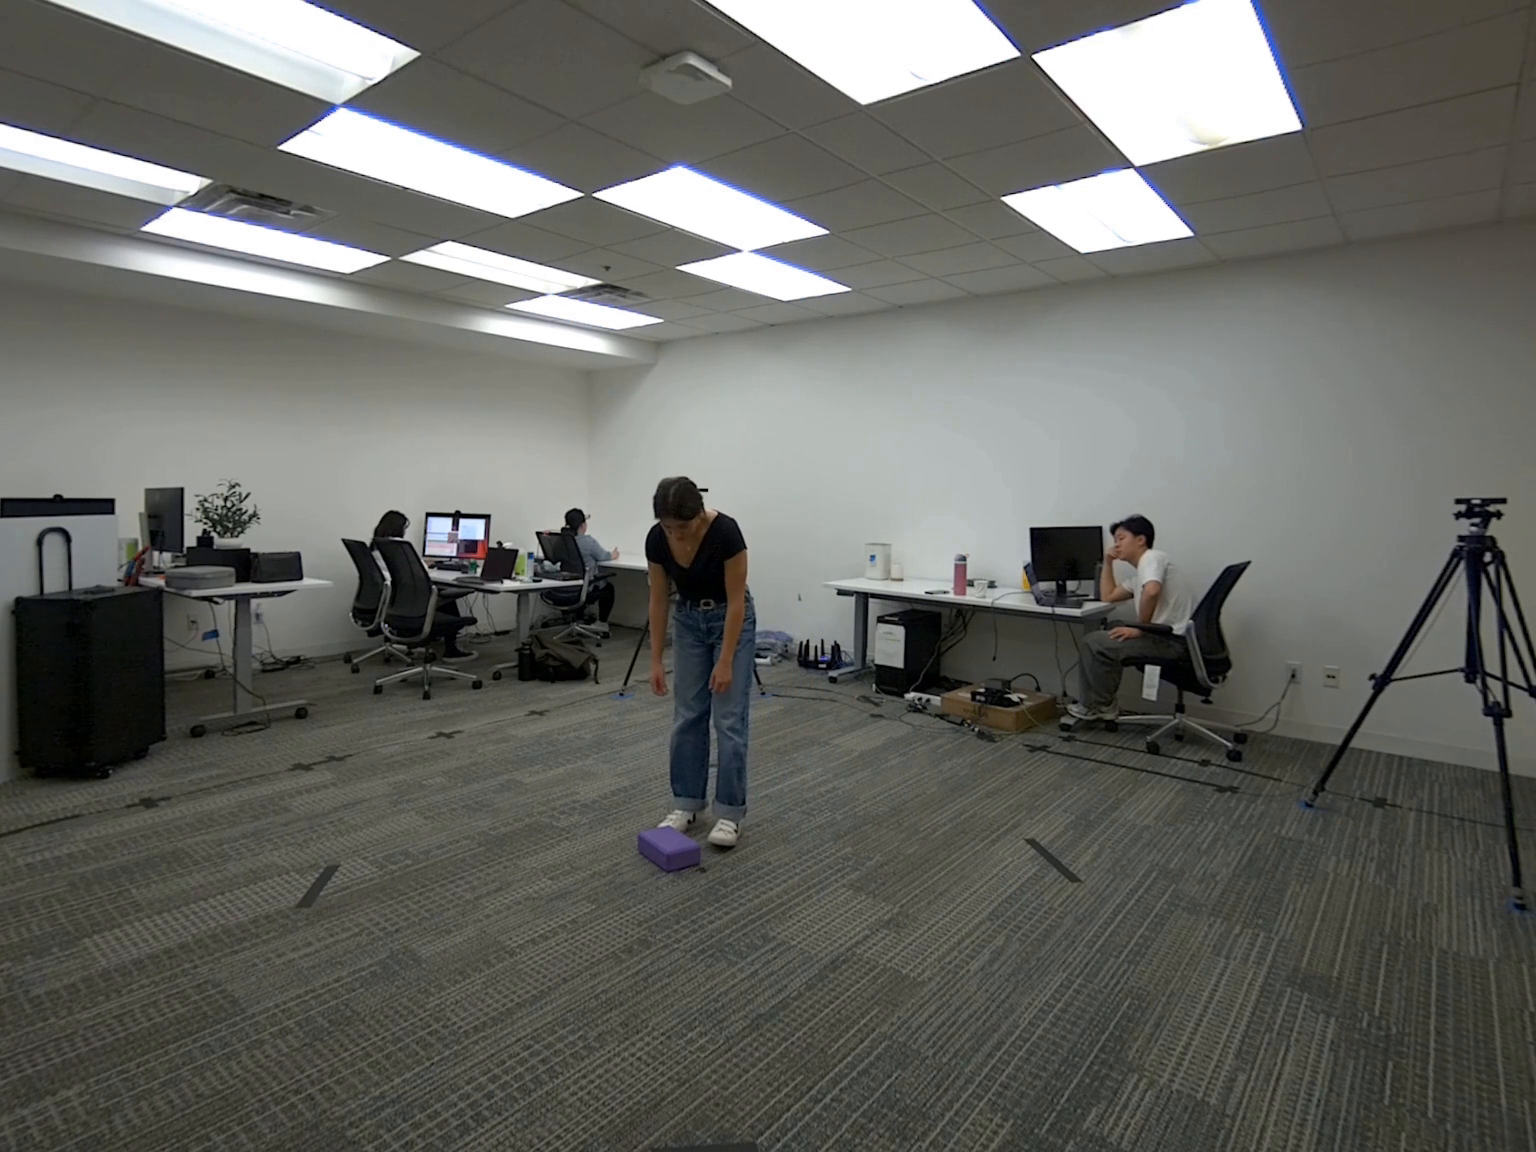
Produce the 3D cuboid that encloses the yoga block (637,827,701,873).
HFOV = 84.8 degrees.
[{"bbox_3d":[-0.376,1.013,3.202,0.145,0.076,0.237,-3,6,-35],"label":"yoga block"}]
